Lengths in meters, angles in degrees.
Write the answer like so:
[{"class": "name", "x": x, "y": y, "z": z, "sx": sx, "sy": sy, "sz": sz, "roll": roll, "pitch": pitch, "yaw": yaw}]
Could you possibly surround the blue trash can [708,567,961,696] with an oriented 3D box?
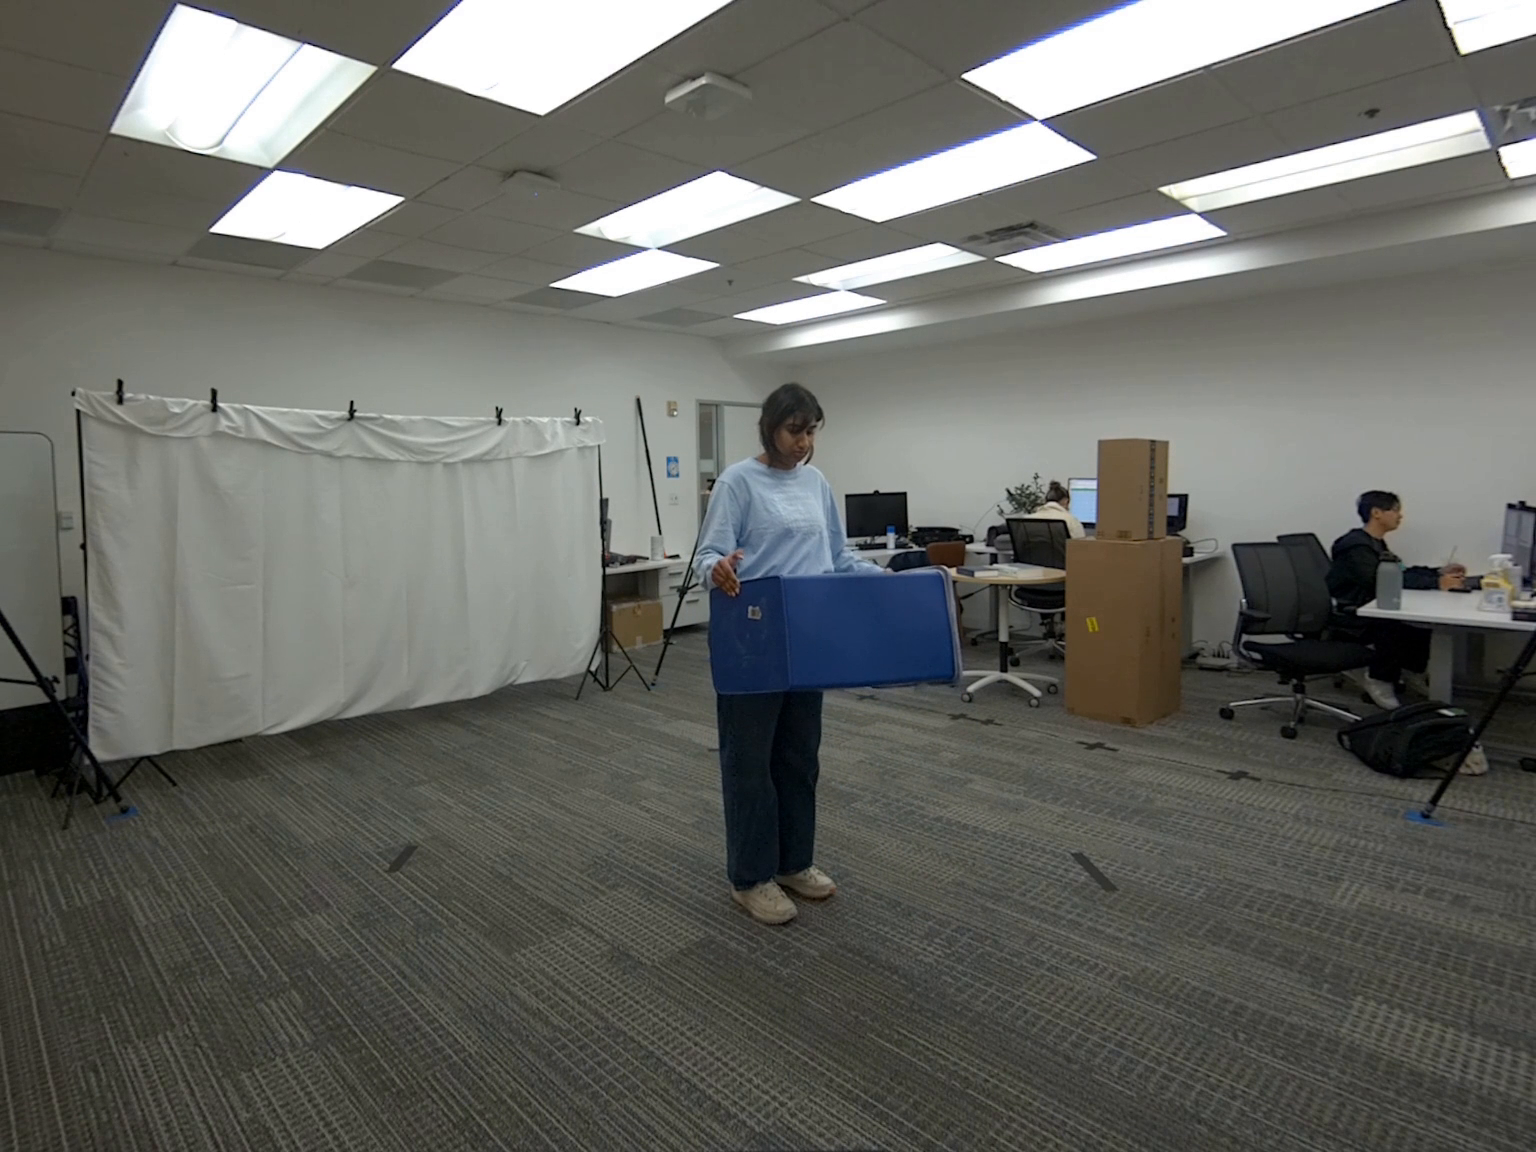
[{"class": "blue trash can", "x": 0.208, "y": 0.163, "z": 2.531, "sx": 0.692, "sy": 0.377, "sz": 0.386, "roll": 3, "pitch": -10, "yaw": -42}]
